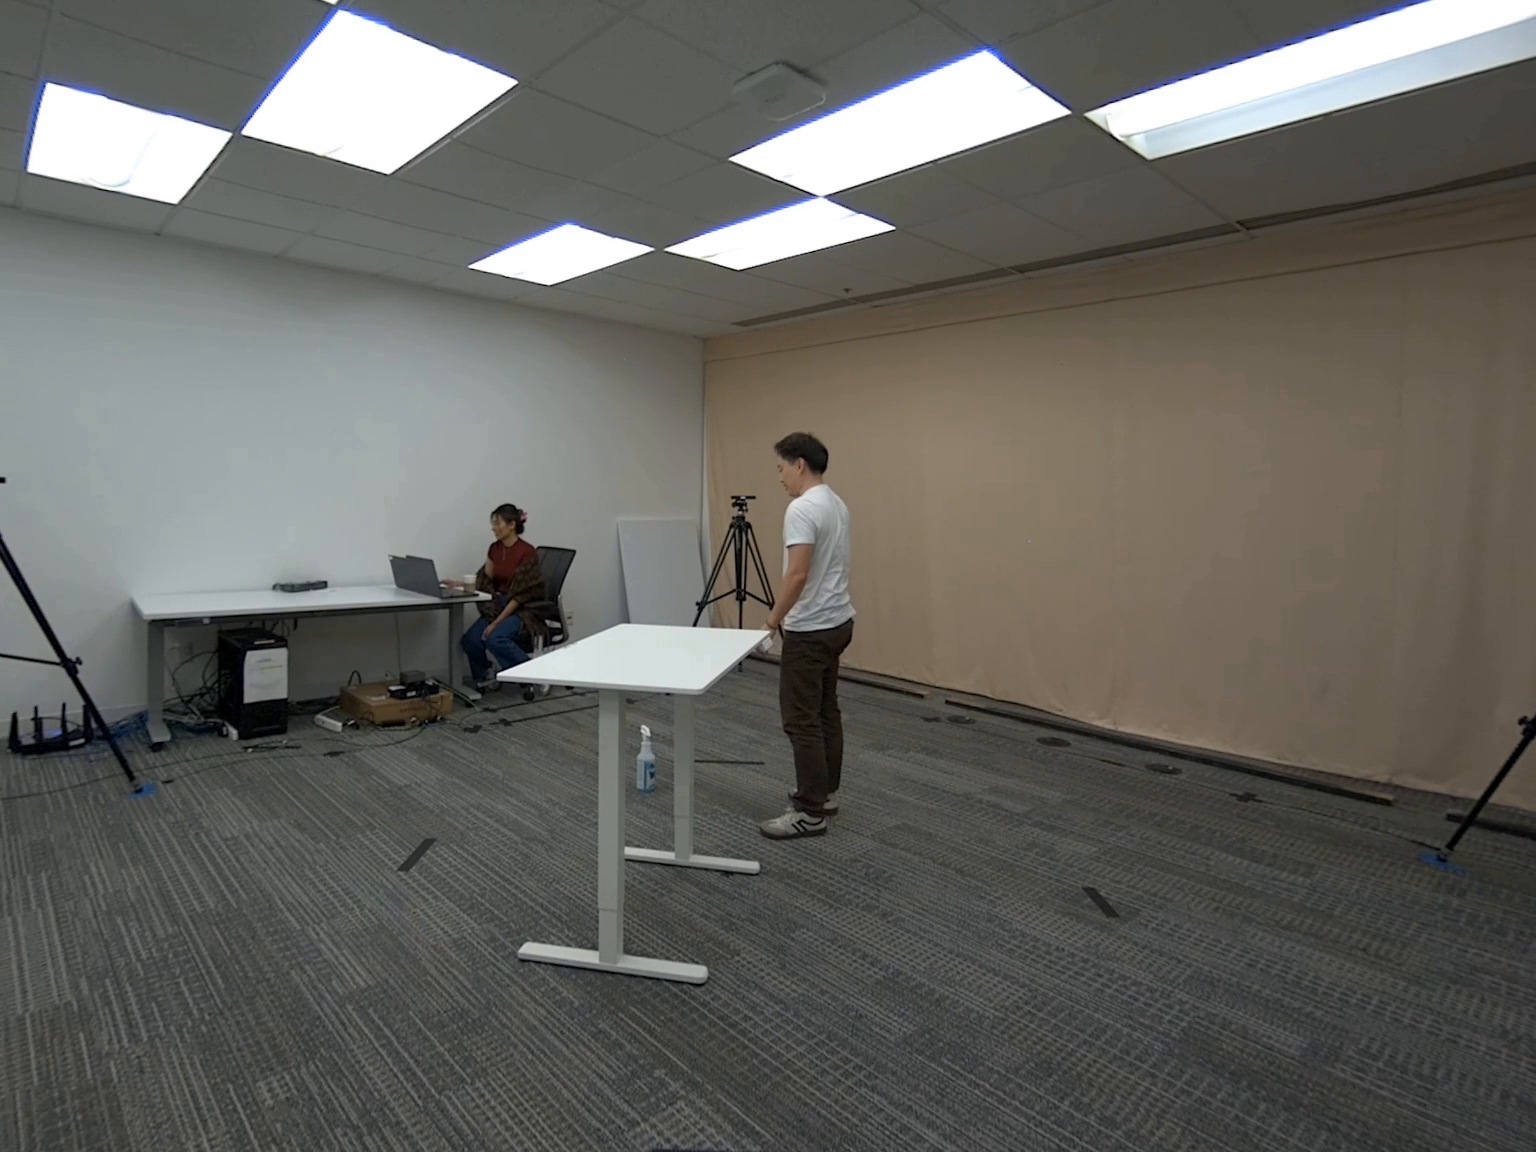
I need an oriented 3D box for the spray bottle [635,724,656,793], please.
[{"bbox_3d":[-0.585,0.866,3.993,0.087,0.297,0.090,1,2,-4],"label":"spray bottle"}]
